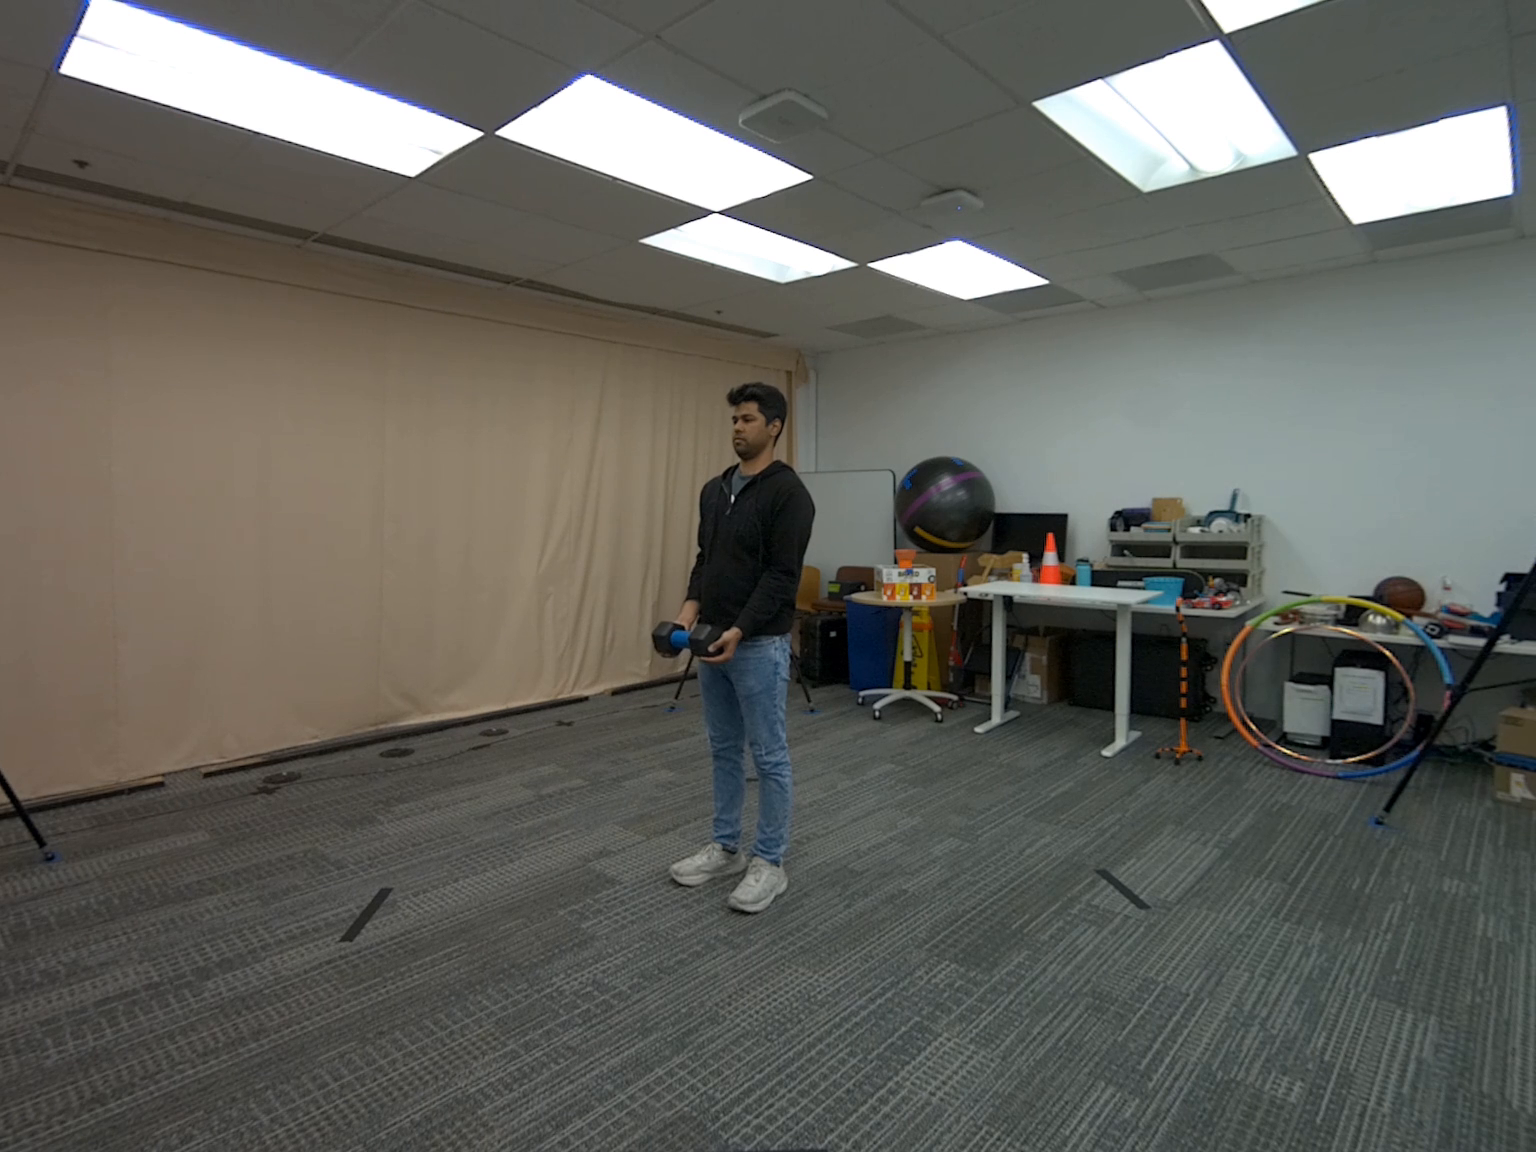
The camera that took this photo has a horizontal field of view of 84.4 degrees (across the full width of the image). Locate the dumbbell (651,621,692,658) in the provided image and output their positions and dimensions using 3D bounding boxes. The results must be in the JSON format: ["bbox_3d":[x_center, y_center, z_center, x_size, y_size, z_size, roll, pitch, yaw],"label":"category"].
[{"bbox_3d":[-0.269,0.212,2.884,0.106,0.122,0.303,-21,13,-40],"label":"dumbbell"}]
